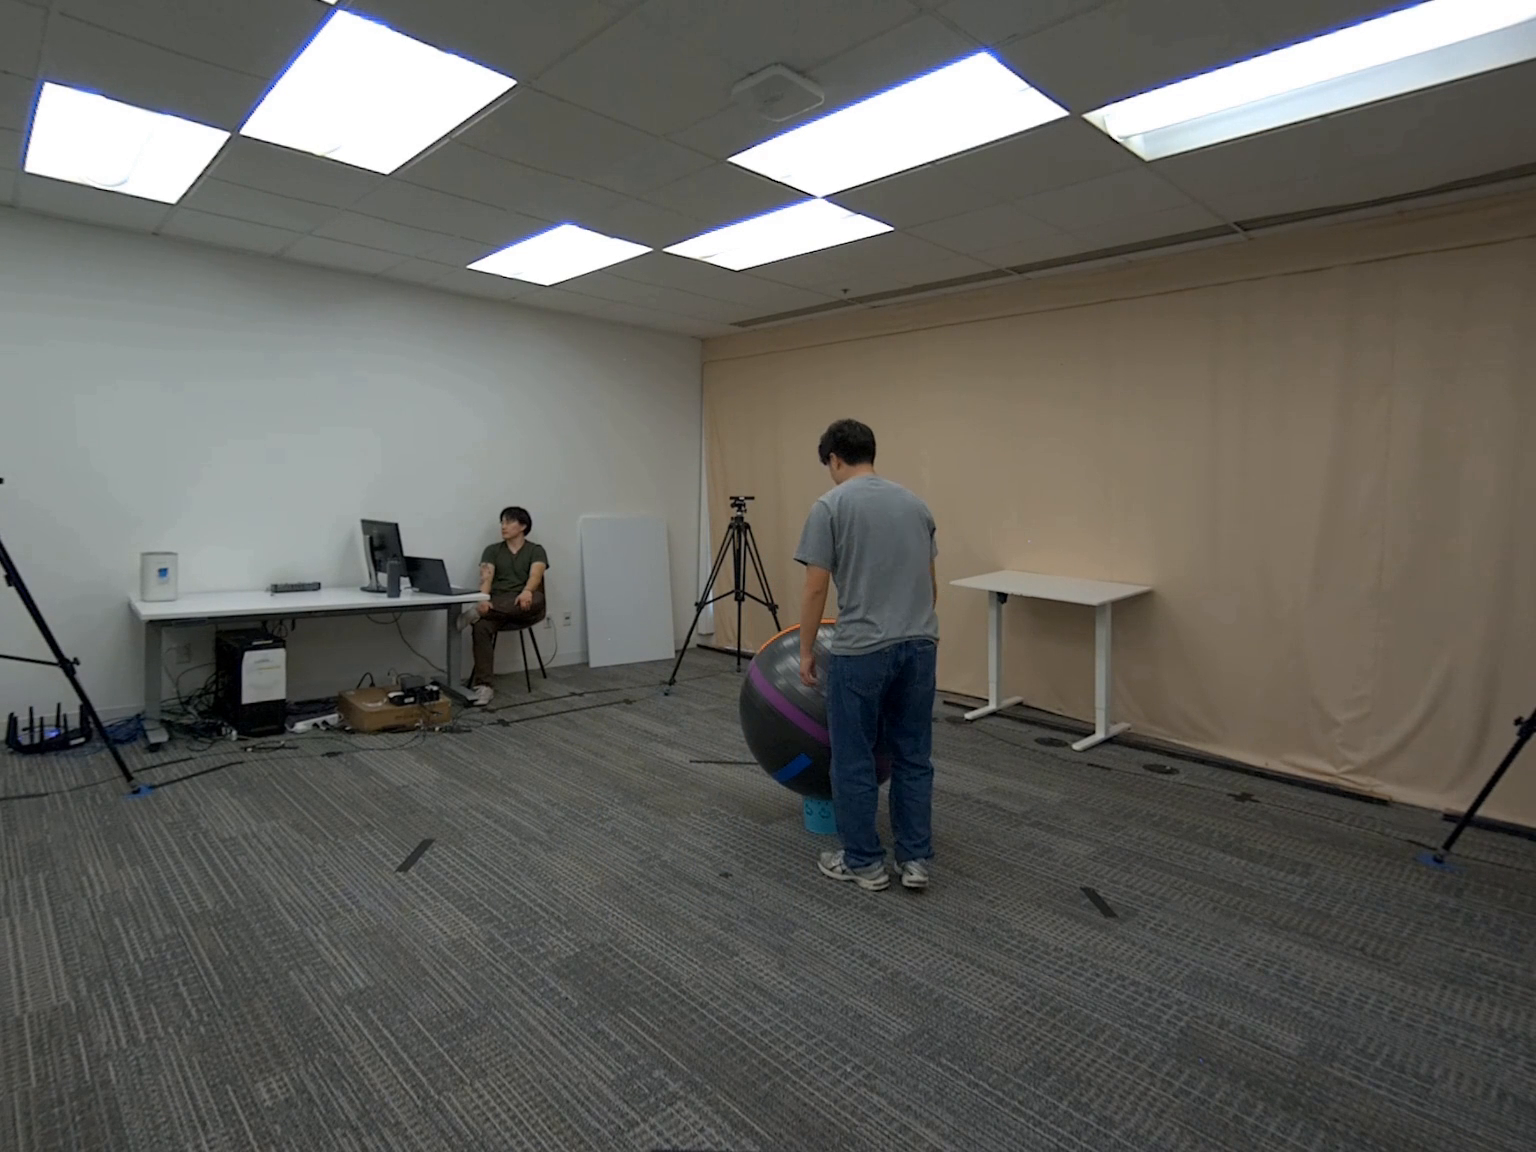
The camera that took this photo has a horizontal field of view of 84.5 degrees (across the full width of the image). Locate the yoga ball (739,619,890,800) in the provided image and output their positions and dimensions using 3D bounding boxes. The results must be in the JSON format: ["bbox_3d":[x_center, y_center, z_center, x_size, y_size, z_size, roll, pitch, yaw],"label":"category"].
[{"bbox_3d":[0.262,0.562,3.595,0.757,0.756,0.761,1,4,-1],"label":"yoga ball"}]
